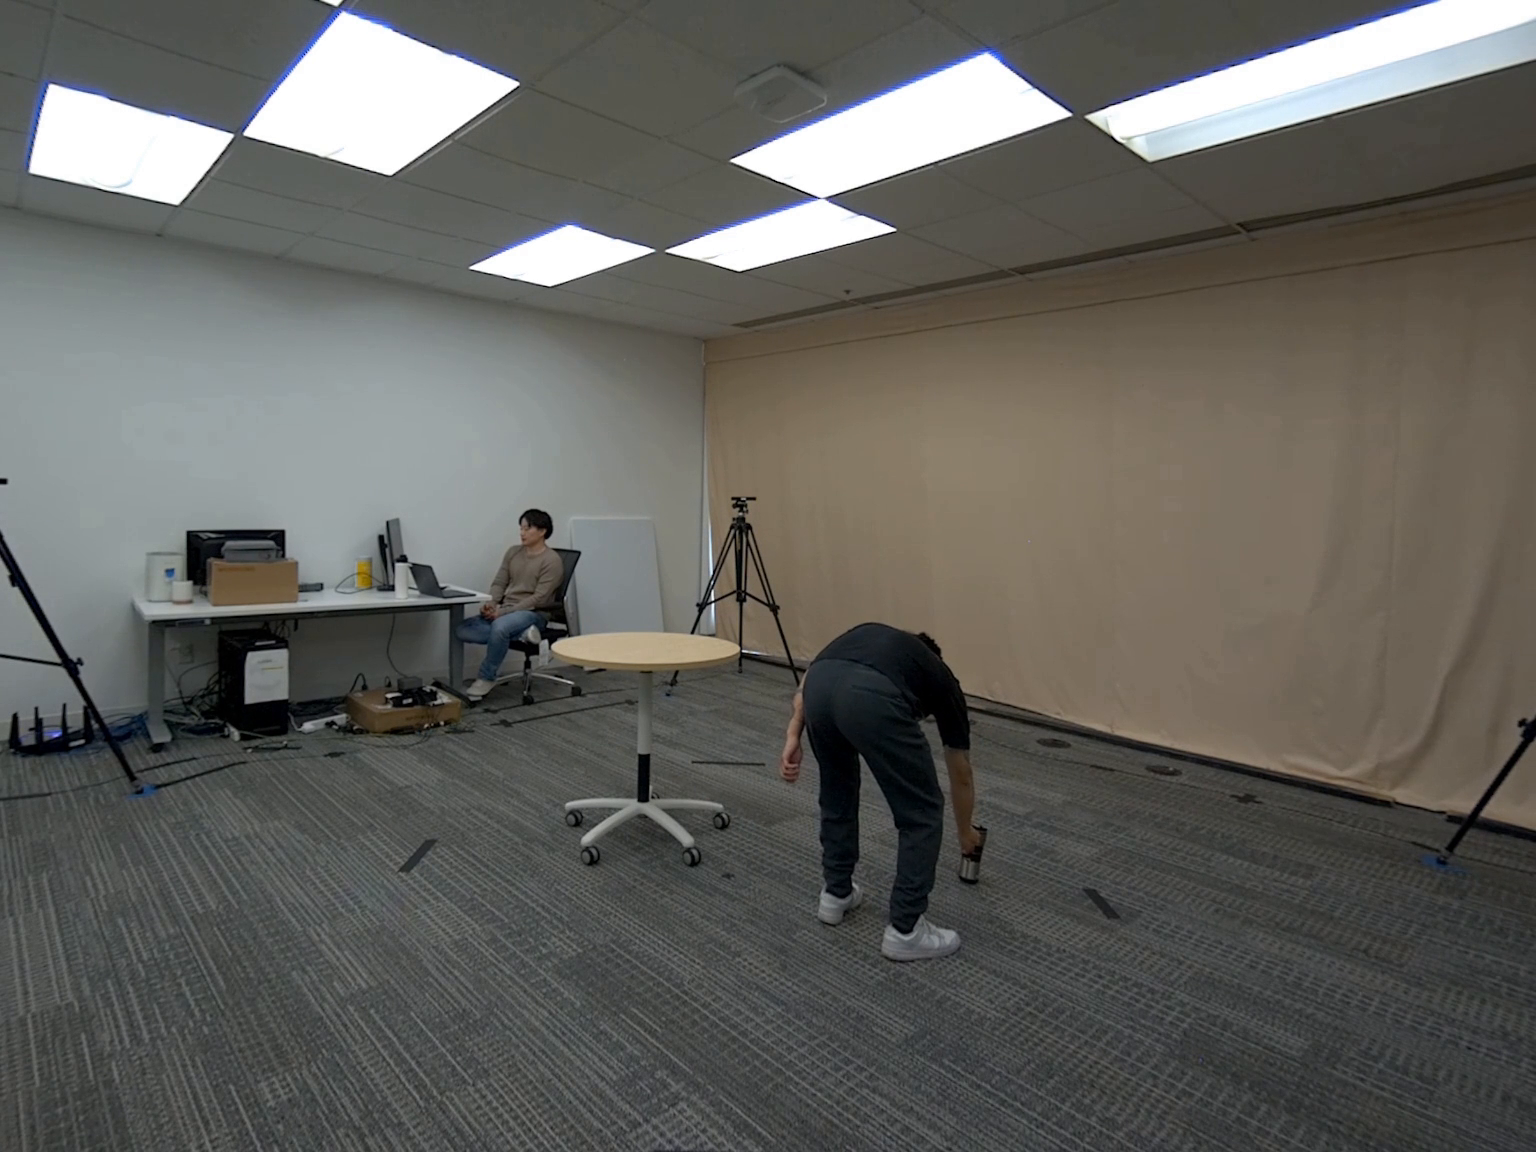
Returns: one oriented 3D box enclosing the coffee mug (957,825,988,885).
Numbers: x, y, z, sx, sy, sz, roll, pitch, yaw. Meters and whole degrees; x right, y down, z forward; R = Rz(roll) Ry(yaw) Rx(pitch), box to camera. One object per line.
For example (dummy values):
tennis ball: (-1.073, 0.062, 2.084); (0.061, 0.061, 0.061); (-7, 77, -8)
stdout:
coffee mug: (0.732, 1.019, 3.108); (0.090, 0.204, 0.118); (8, -9, 45)
